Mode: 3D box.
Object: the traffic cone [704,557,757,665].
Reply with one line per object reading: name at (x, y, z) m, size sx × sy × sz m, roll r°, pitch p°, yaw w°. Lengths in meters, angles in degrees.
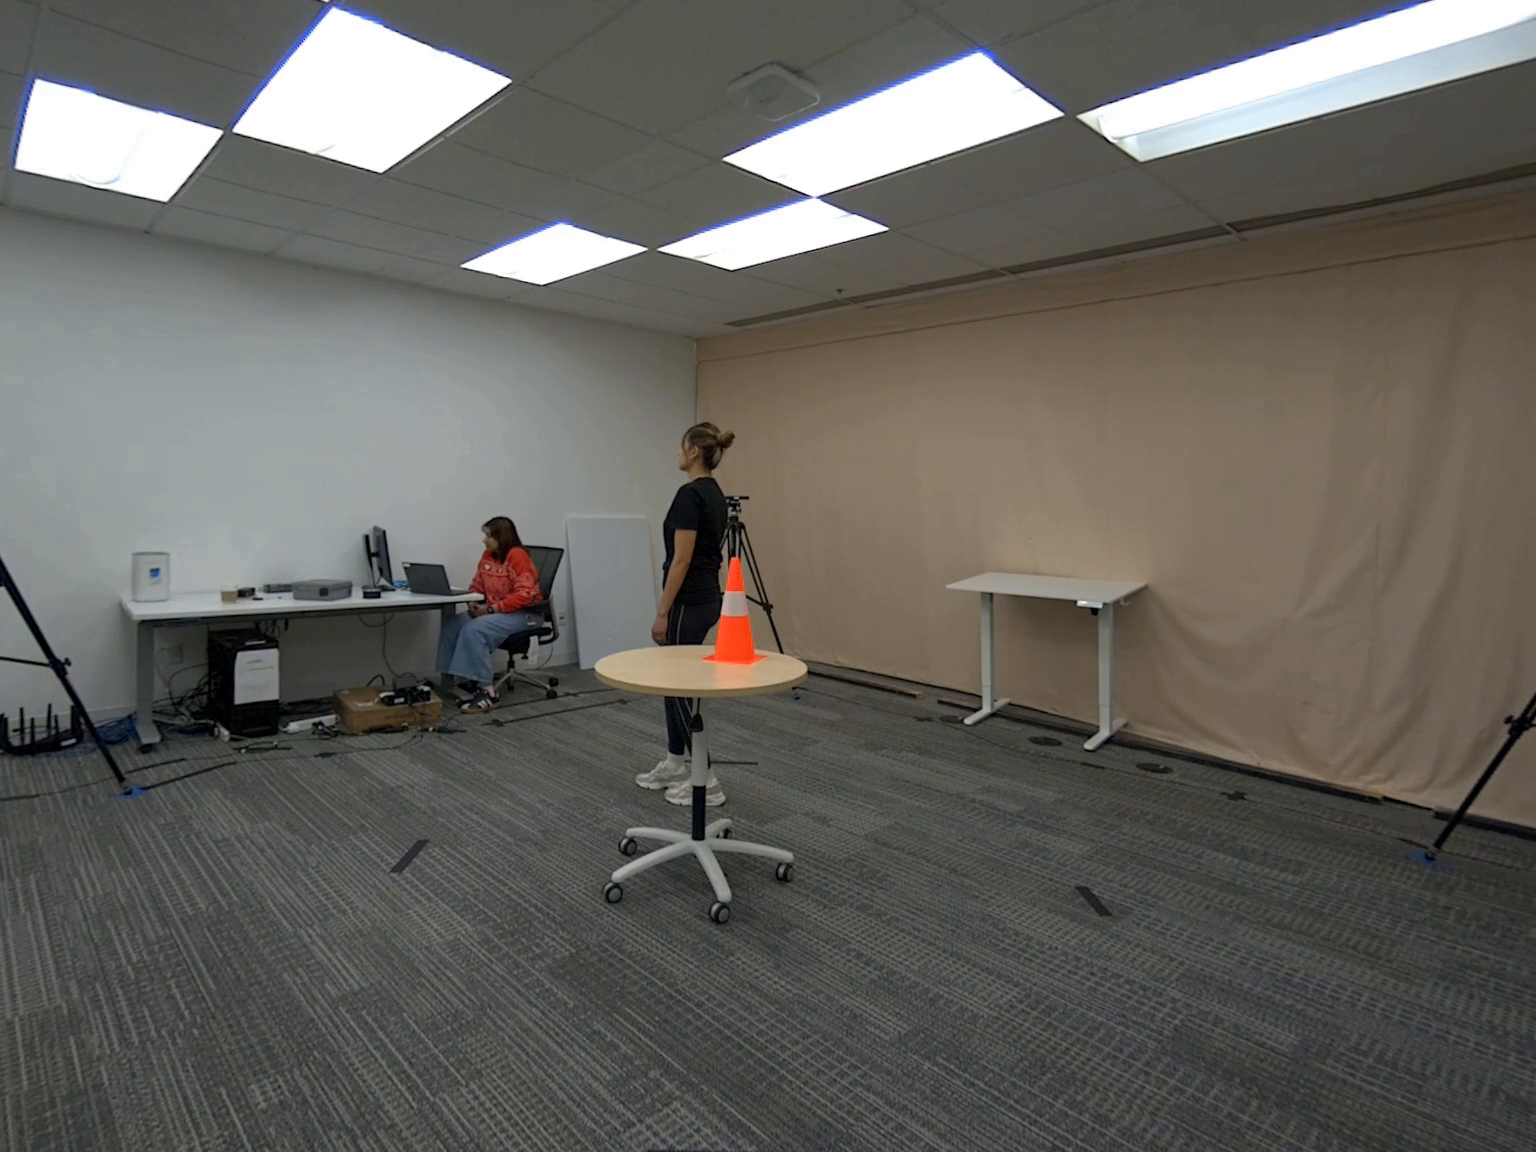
traffic cone at (-0.130, 0.127, 3.176) m, size 0.207 × 0.383 × 0.201 m, roll 2°, pitch 2°, yaw 24°
